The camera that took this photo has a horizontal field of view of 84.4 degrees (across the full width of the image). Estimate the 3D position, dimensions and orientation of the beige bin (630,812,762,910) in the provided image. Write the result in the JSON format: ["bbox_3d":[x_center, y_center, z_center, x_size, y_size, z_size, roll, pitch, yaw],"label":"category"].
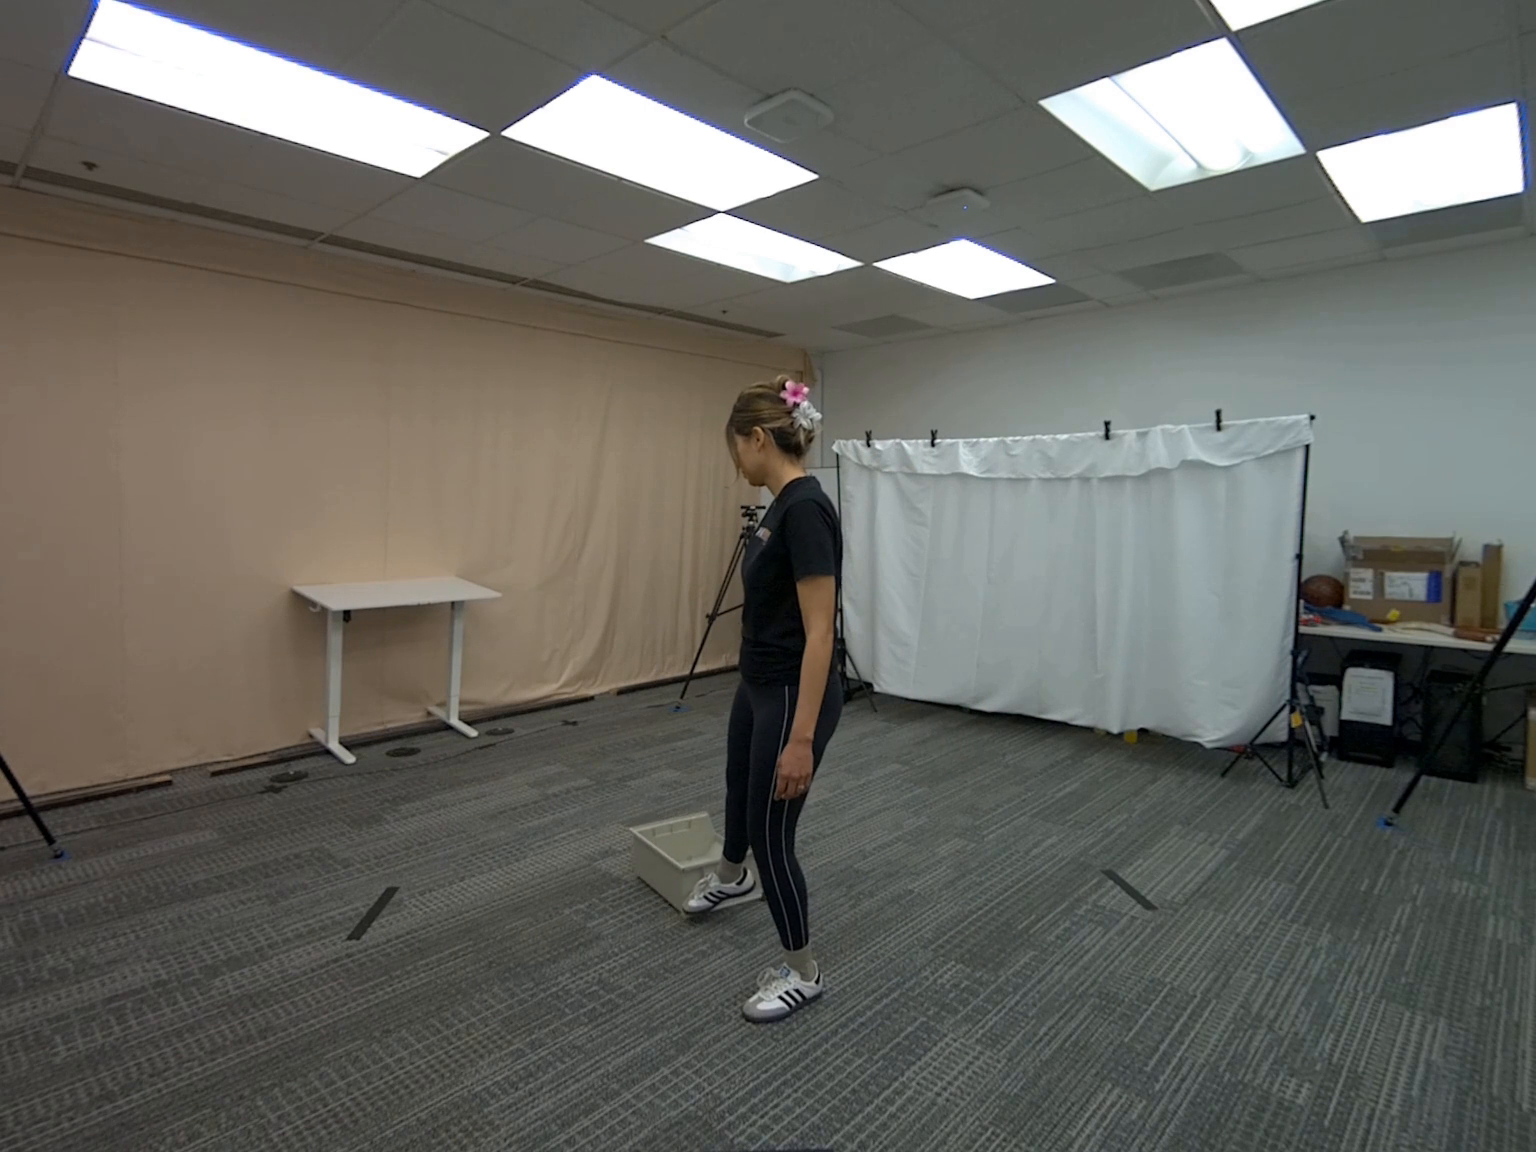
[{"bbox_3d":[-0.249,1.048,3.093,0.367,0.188,0.435,-4,6,-32],"label":"beige bin"}]
